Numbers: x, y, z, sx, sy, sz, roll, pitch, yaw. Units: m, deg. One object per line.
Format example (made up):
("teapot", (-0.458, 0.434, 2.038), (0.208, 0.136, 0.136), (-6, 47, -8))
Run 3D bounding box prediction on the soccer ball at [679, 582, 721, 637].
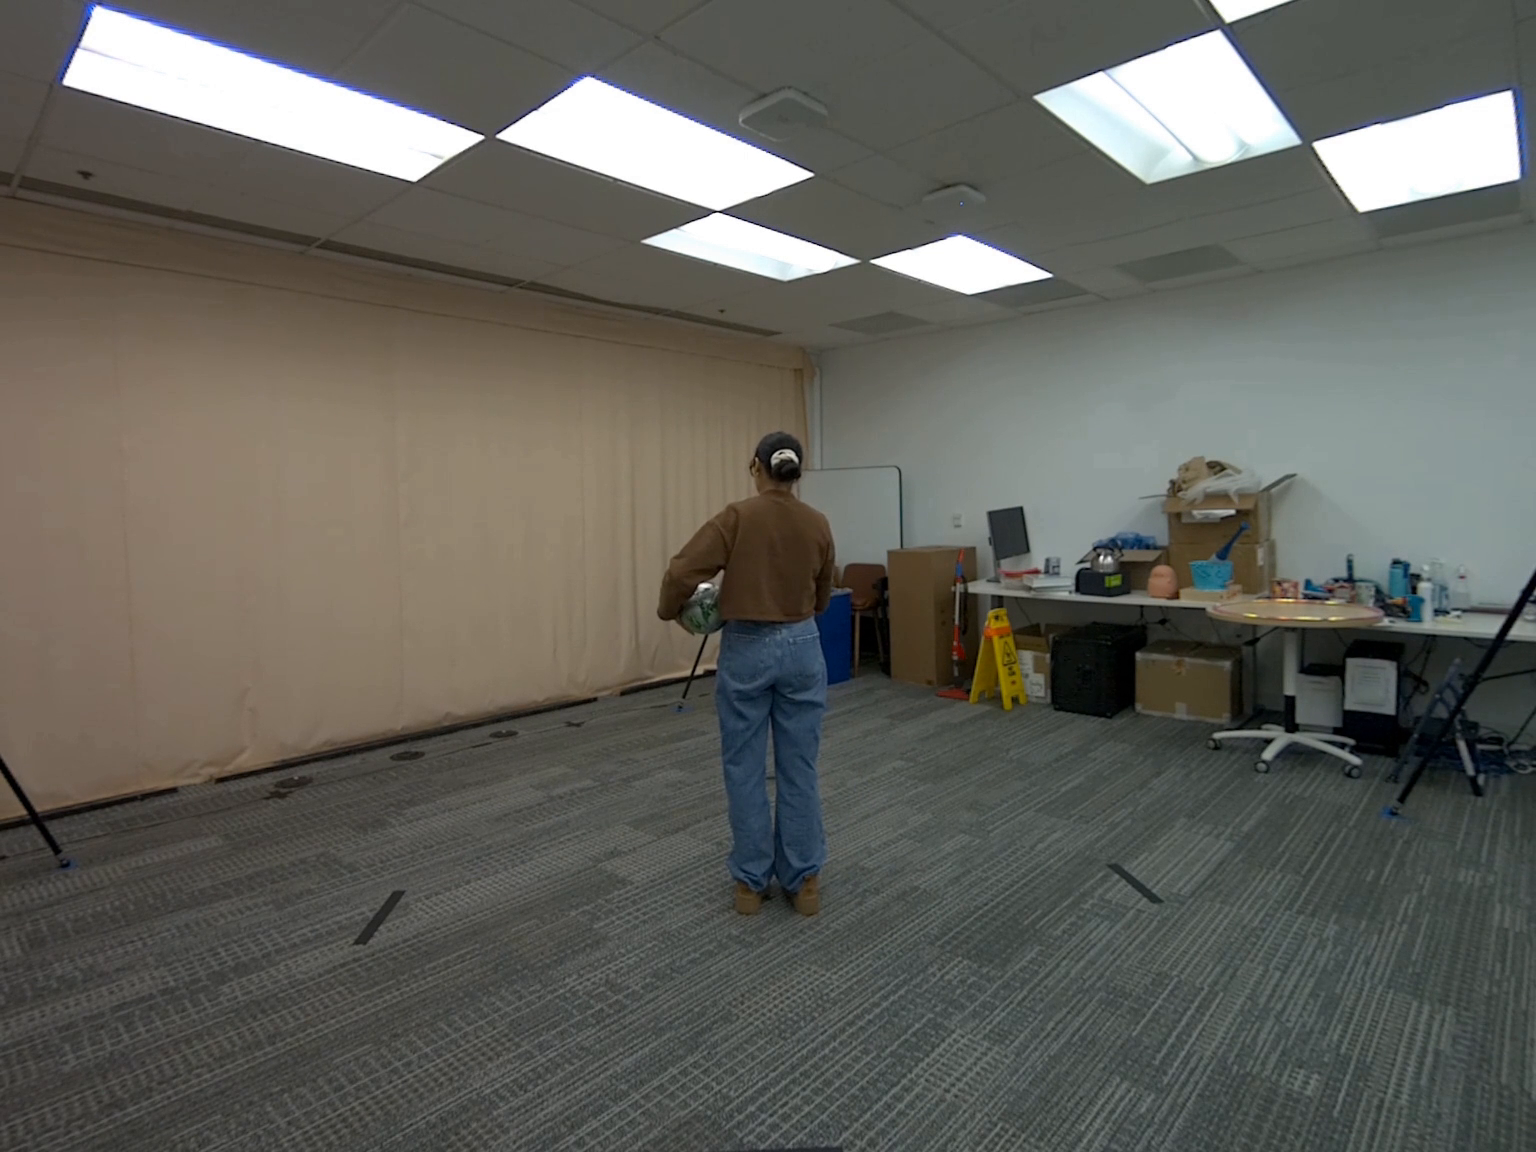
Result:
("soccer ball", (-0.225, 0.108, 2.971), (0.187, 0.187, 0.188), (-1, 4, -2))
